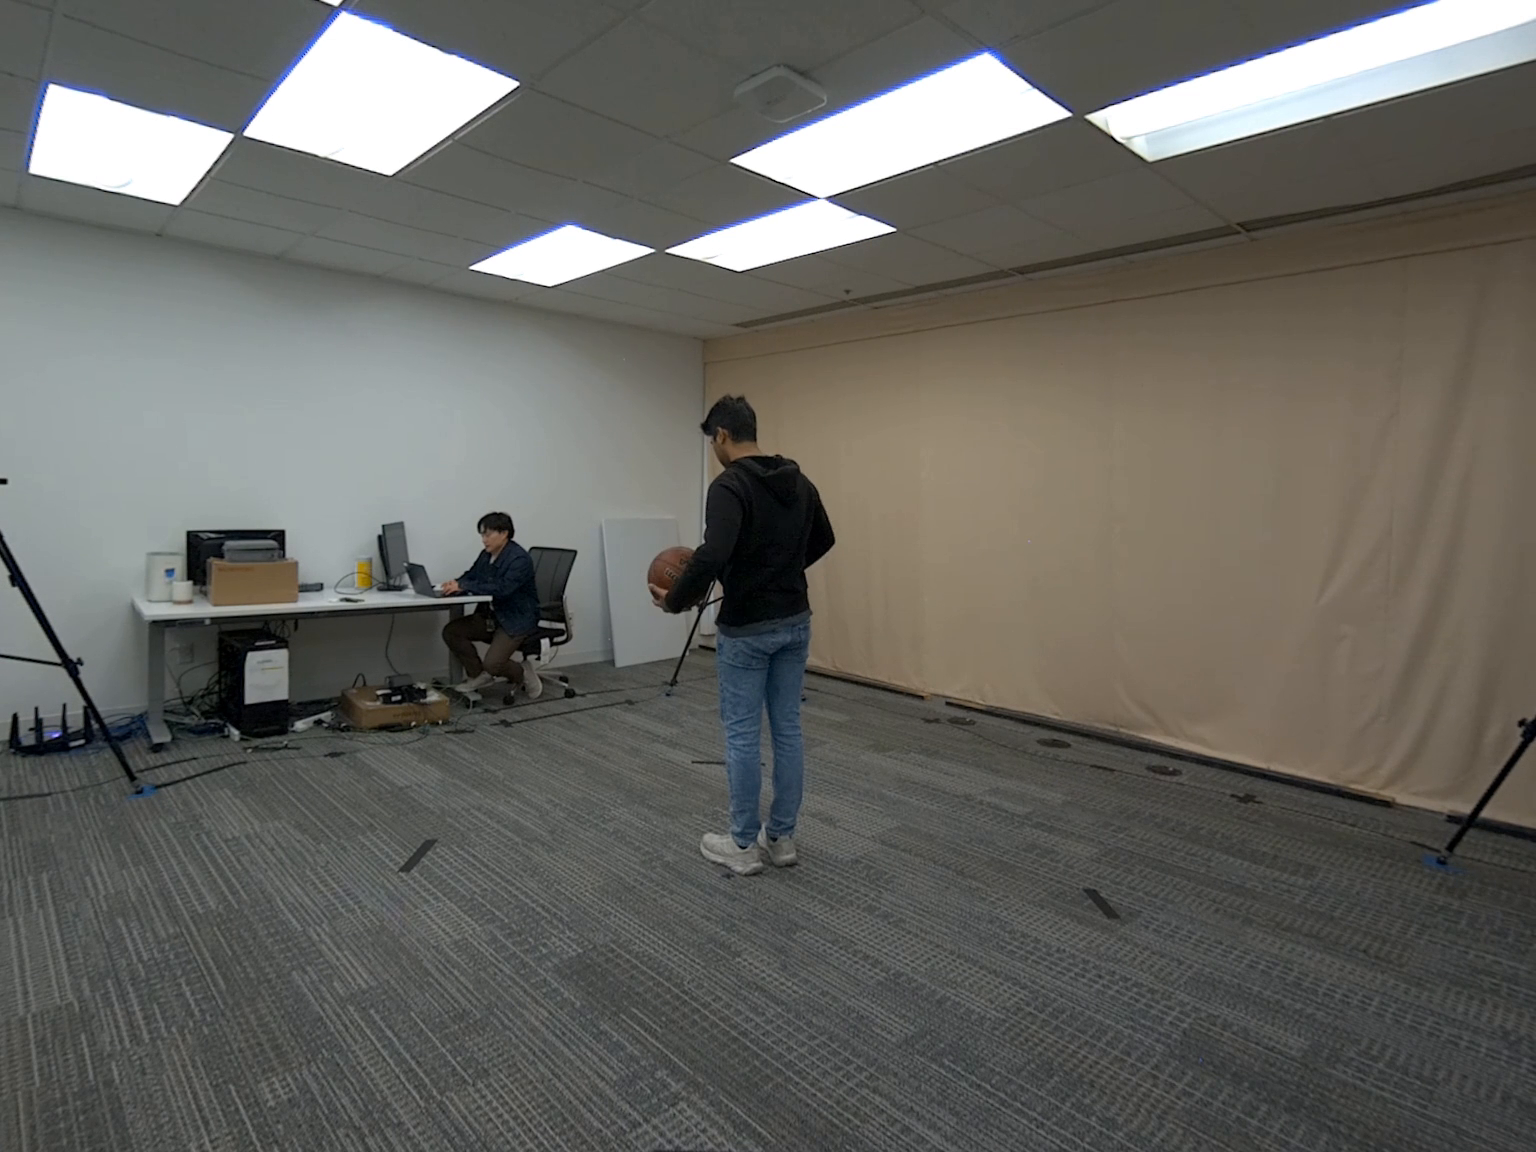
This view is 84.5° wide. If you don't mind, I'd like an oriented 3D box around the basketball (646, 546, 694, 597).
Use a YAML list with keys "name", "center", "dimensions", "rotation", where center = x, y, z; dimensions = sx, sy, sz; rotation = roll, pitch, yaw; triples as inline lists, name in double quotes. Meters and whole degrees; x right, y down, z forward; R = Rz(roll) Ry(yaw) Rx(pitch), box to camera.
- name: "basketball"
  center: [-0.320, 0.008, 3.176]
  dimensions: [0.236, 0.235, 0.237]
  rotation: [1, 4, -1]
